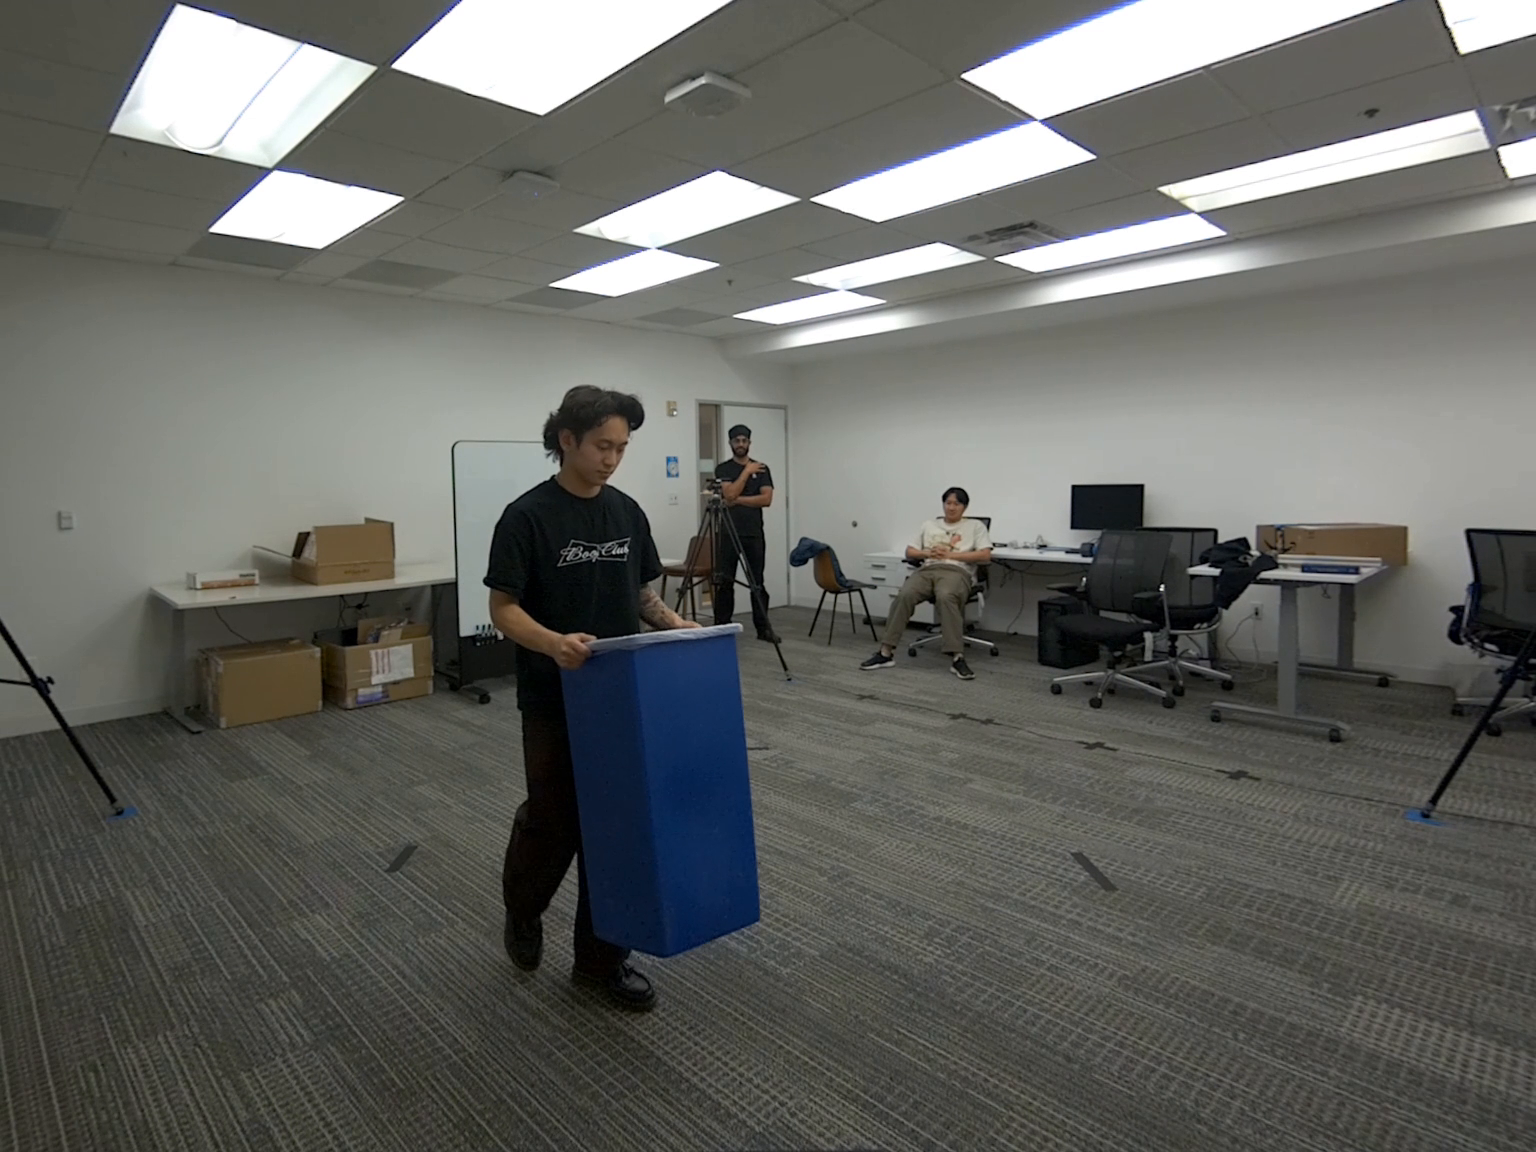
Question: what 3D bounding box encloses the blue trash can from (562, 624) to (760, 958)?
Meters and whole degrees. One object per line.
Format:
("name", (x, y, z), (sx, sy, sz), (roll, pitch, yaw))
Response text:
("blue trash can", (-0.261, 0.506, 2.125), (0.363, 0.719, 0.386), (0, -9, -43))
